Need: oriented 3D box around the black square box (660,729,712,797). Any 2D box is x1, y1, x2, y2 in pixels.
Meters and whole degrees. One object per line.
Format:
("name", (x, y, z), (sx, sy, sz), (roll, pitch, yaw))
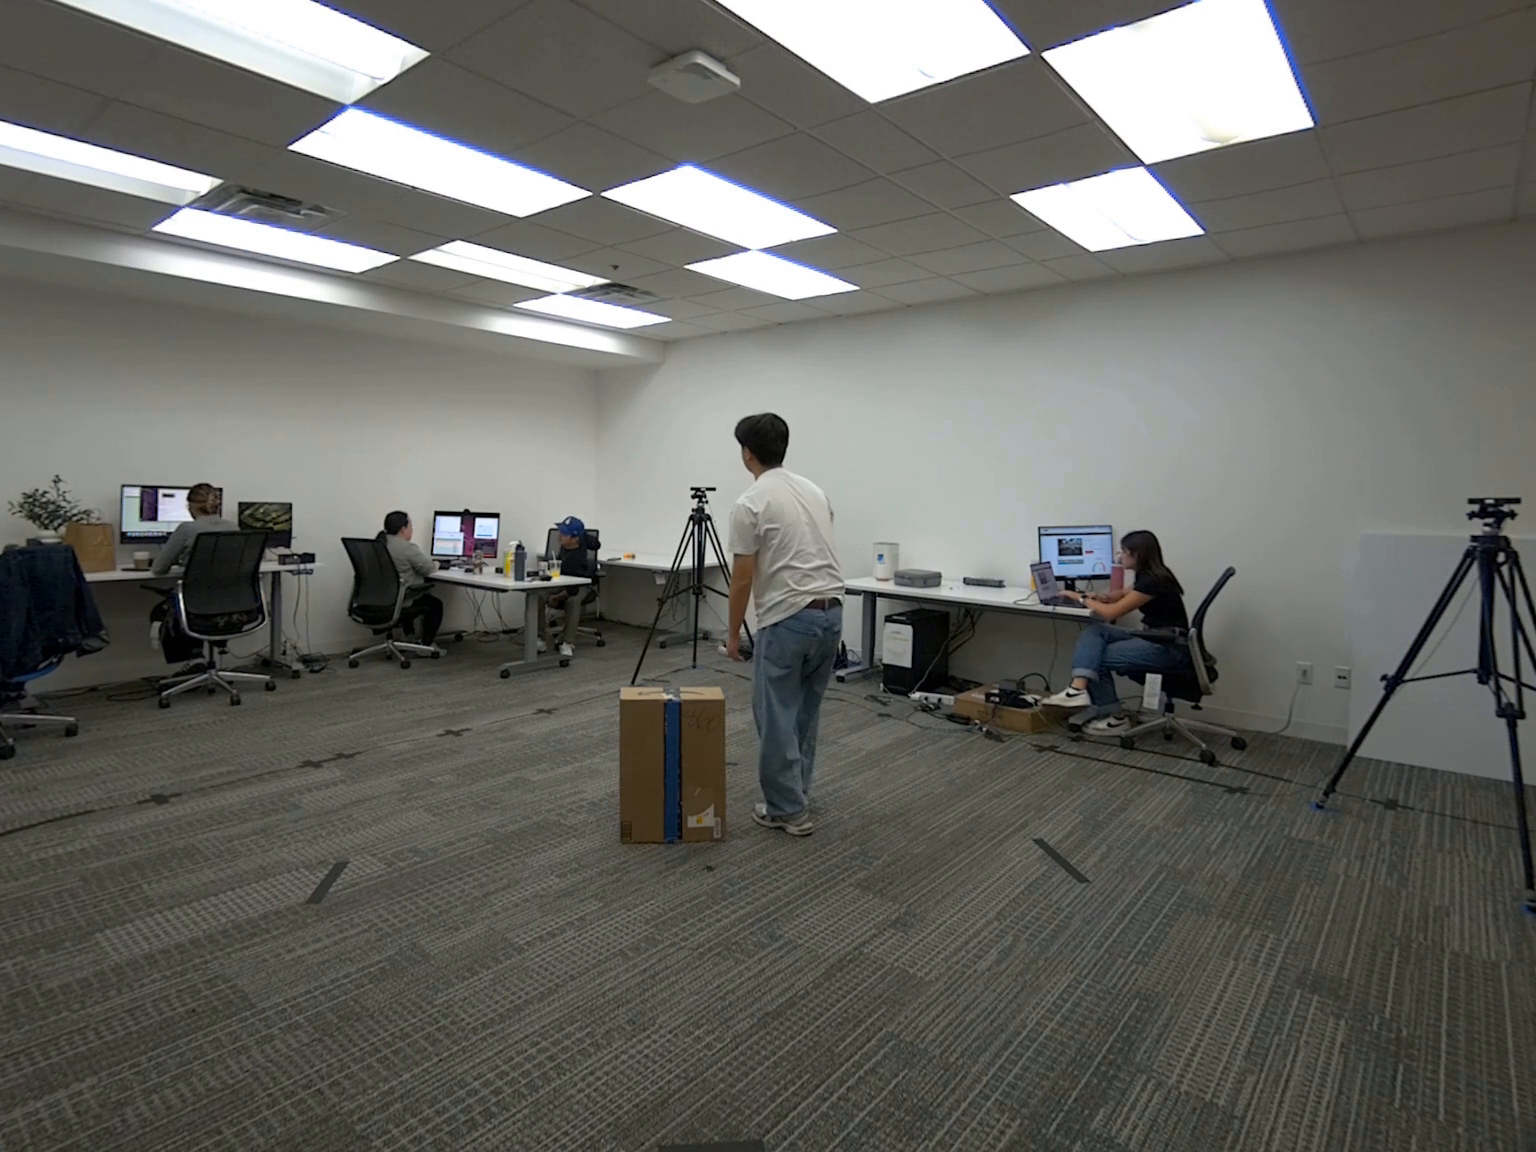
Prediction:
("black square box", (-0.382, 0.859, 3.902), (0.159, 0.227, 0.213), (3, 5, 19))
